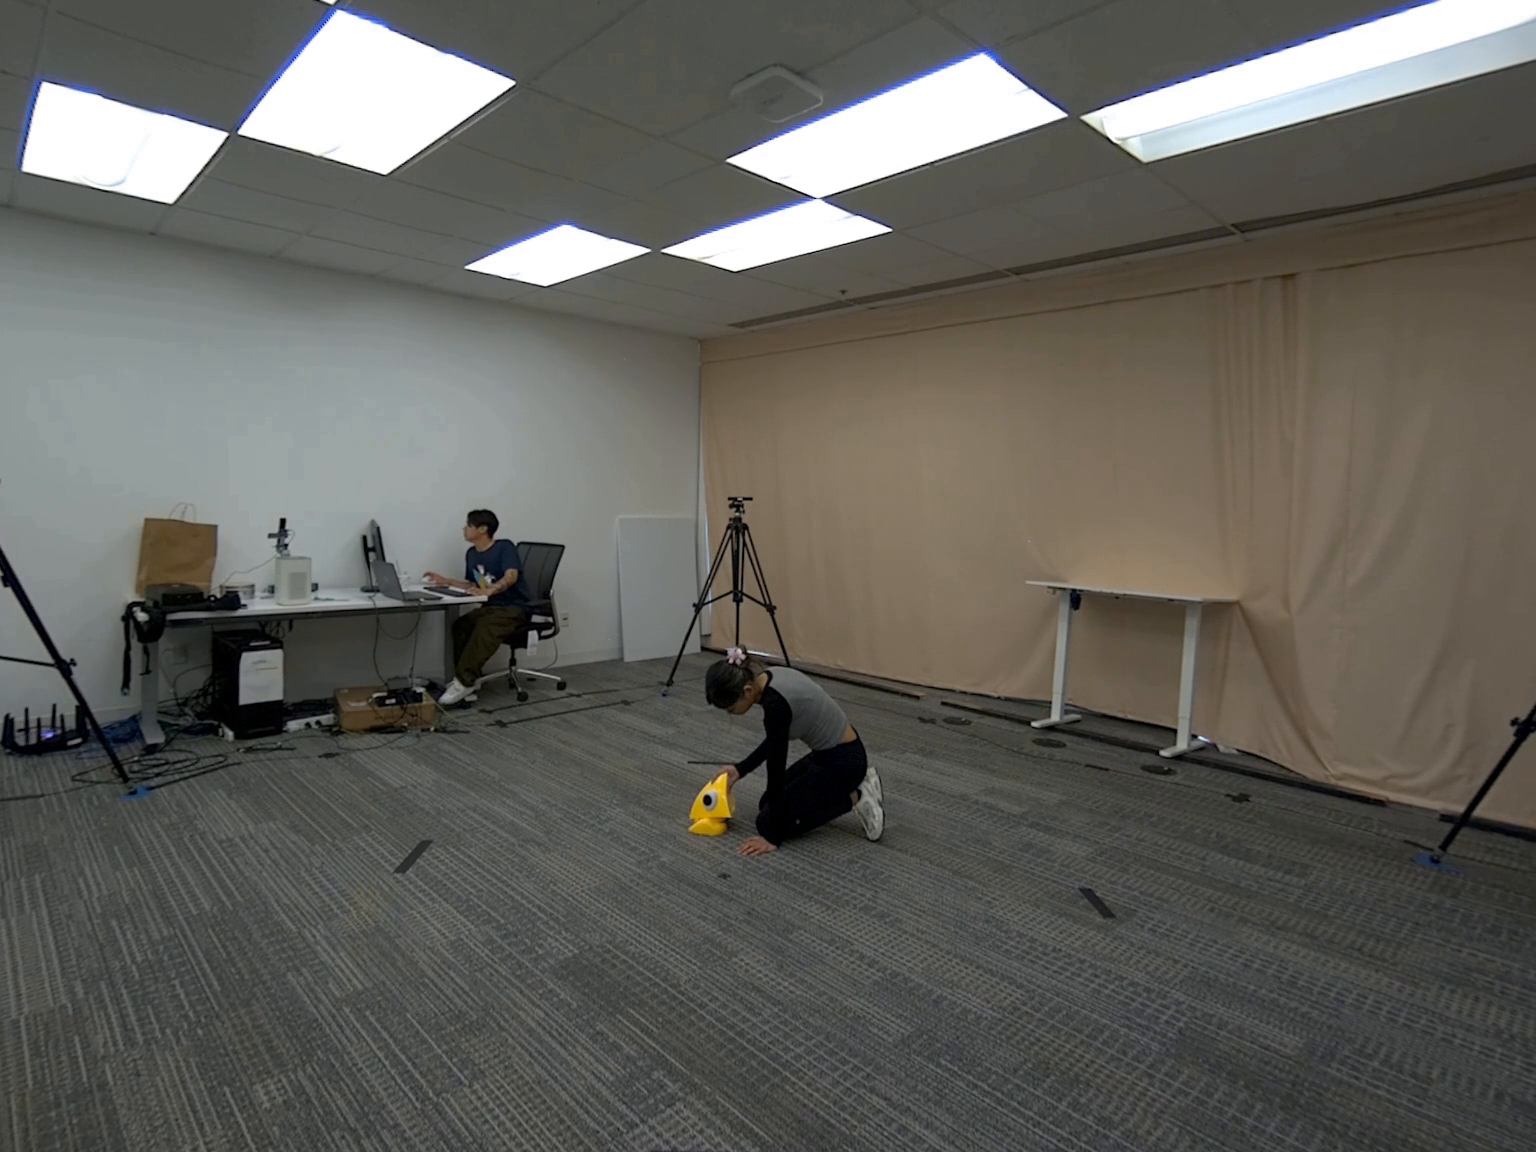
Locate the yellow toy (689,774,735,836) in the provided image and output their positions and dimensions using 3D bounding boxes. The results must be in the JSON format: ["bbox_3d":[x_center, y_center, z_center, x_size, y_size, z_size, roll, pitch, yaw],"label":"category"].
[{"bbox_3d":[-0.244,0.943,3.579,0.194,0.230,0.204,2,4,5],"label":"yellow toy"}]
